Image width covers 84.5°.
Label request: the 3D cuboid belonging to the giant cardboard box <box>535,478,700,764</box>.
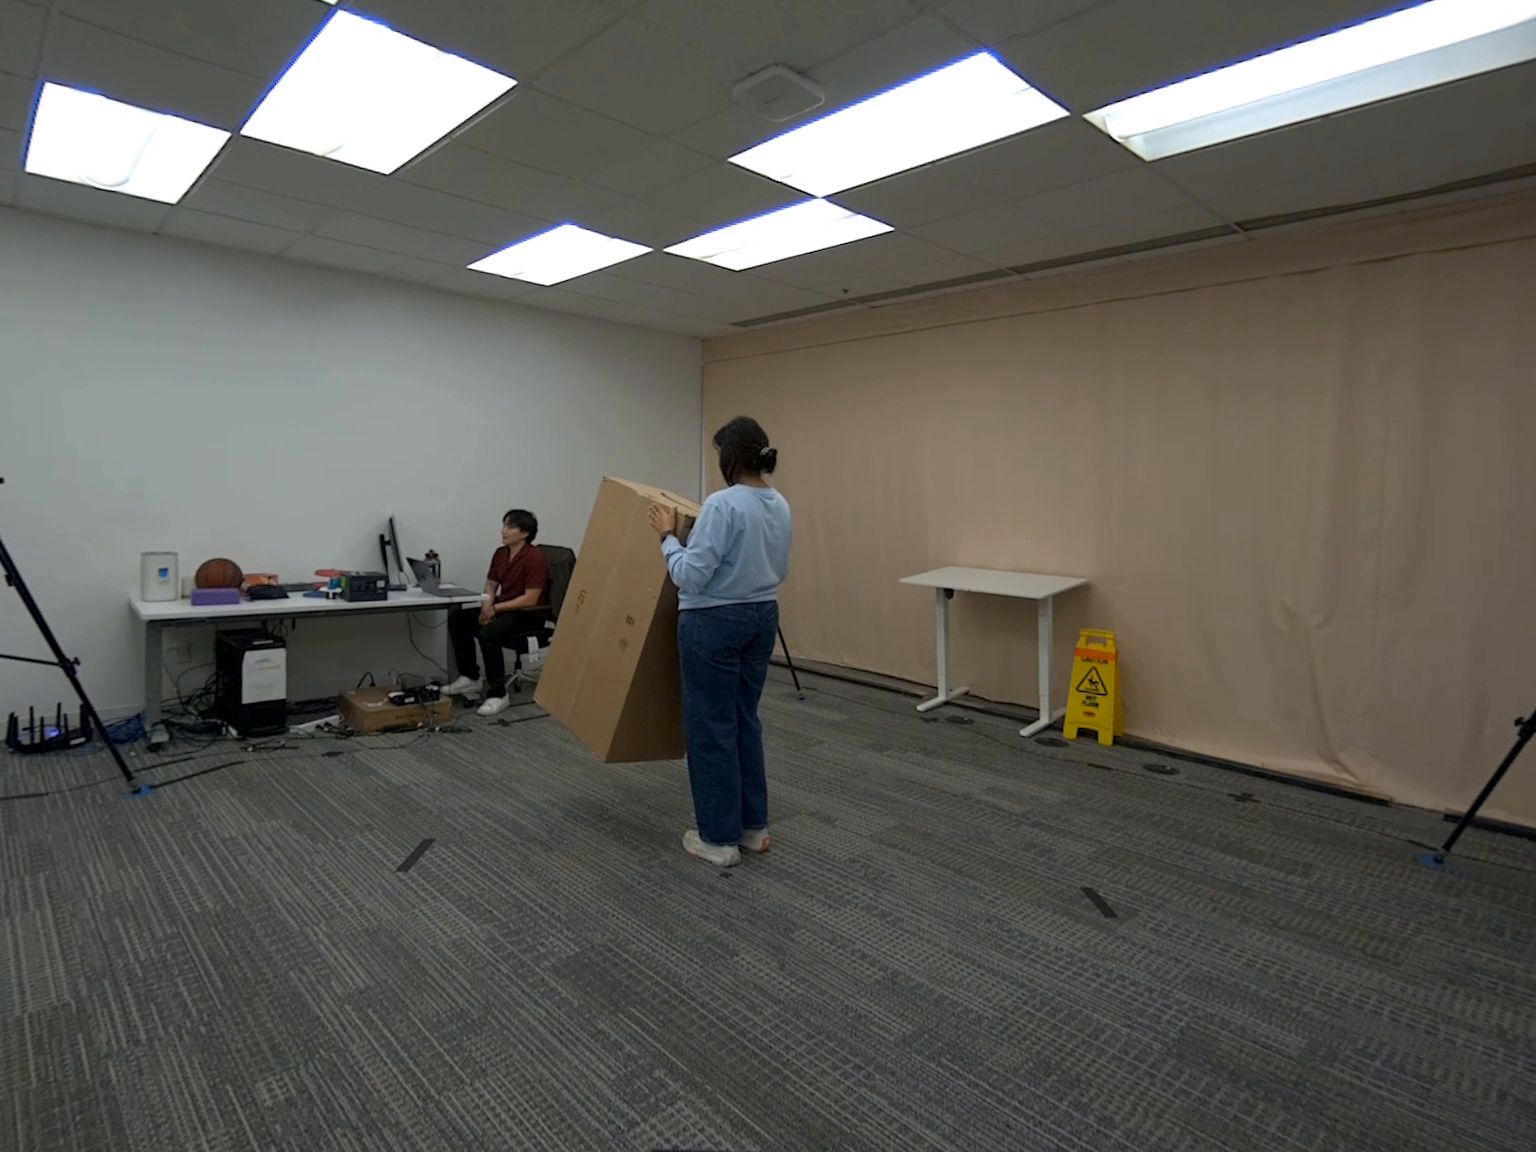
[{"bbox_3d":[-0.531,0.176,3.547,0.434,1.024,0.602,13,9,-45],"label":"giant cardboard box"}]
